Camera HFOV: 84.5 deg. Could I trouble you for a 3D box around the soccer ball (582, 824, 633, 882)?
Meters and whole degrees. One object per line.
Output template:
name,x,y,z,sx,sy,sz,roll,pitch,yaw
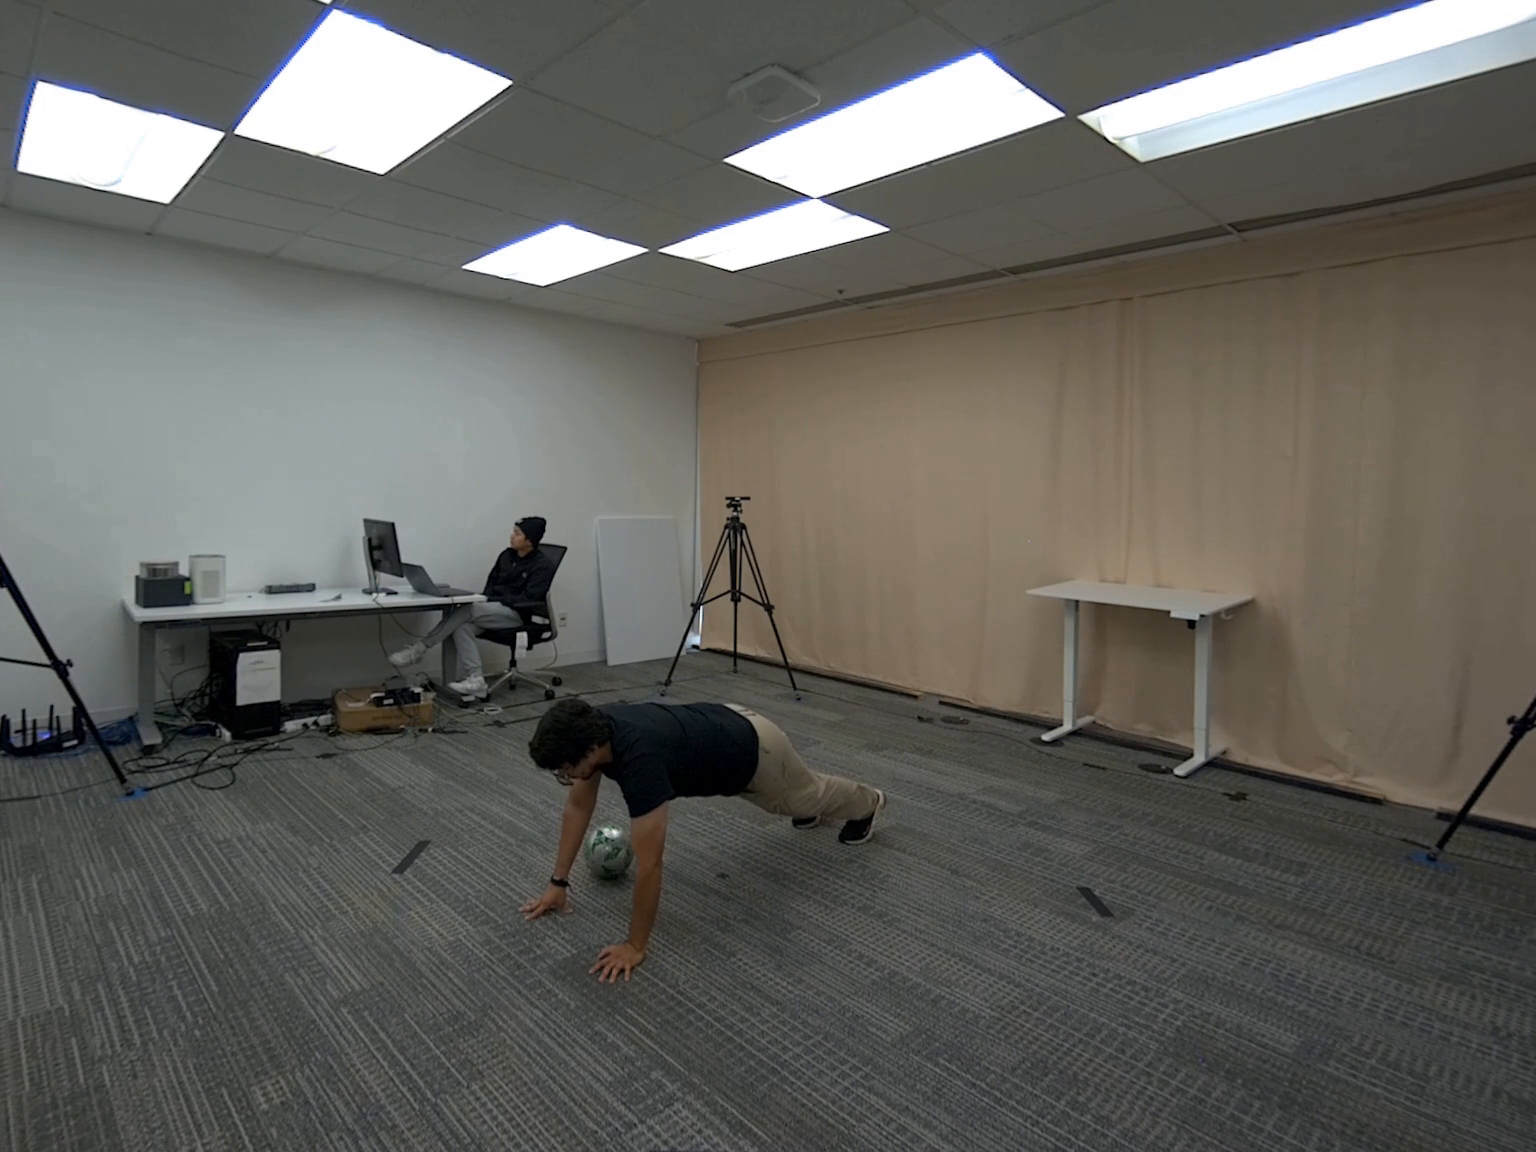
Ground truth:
soccer ball,-0.581,1.005,3.089,0.187,0.187,0.188,1,4,-1
